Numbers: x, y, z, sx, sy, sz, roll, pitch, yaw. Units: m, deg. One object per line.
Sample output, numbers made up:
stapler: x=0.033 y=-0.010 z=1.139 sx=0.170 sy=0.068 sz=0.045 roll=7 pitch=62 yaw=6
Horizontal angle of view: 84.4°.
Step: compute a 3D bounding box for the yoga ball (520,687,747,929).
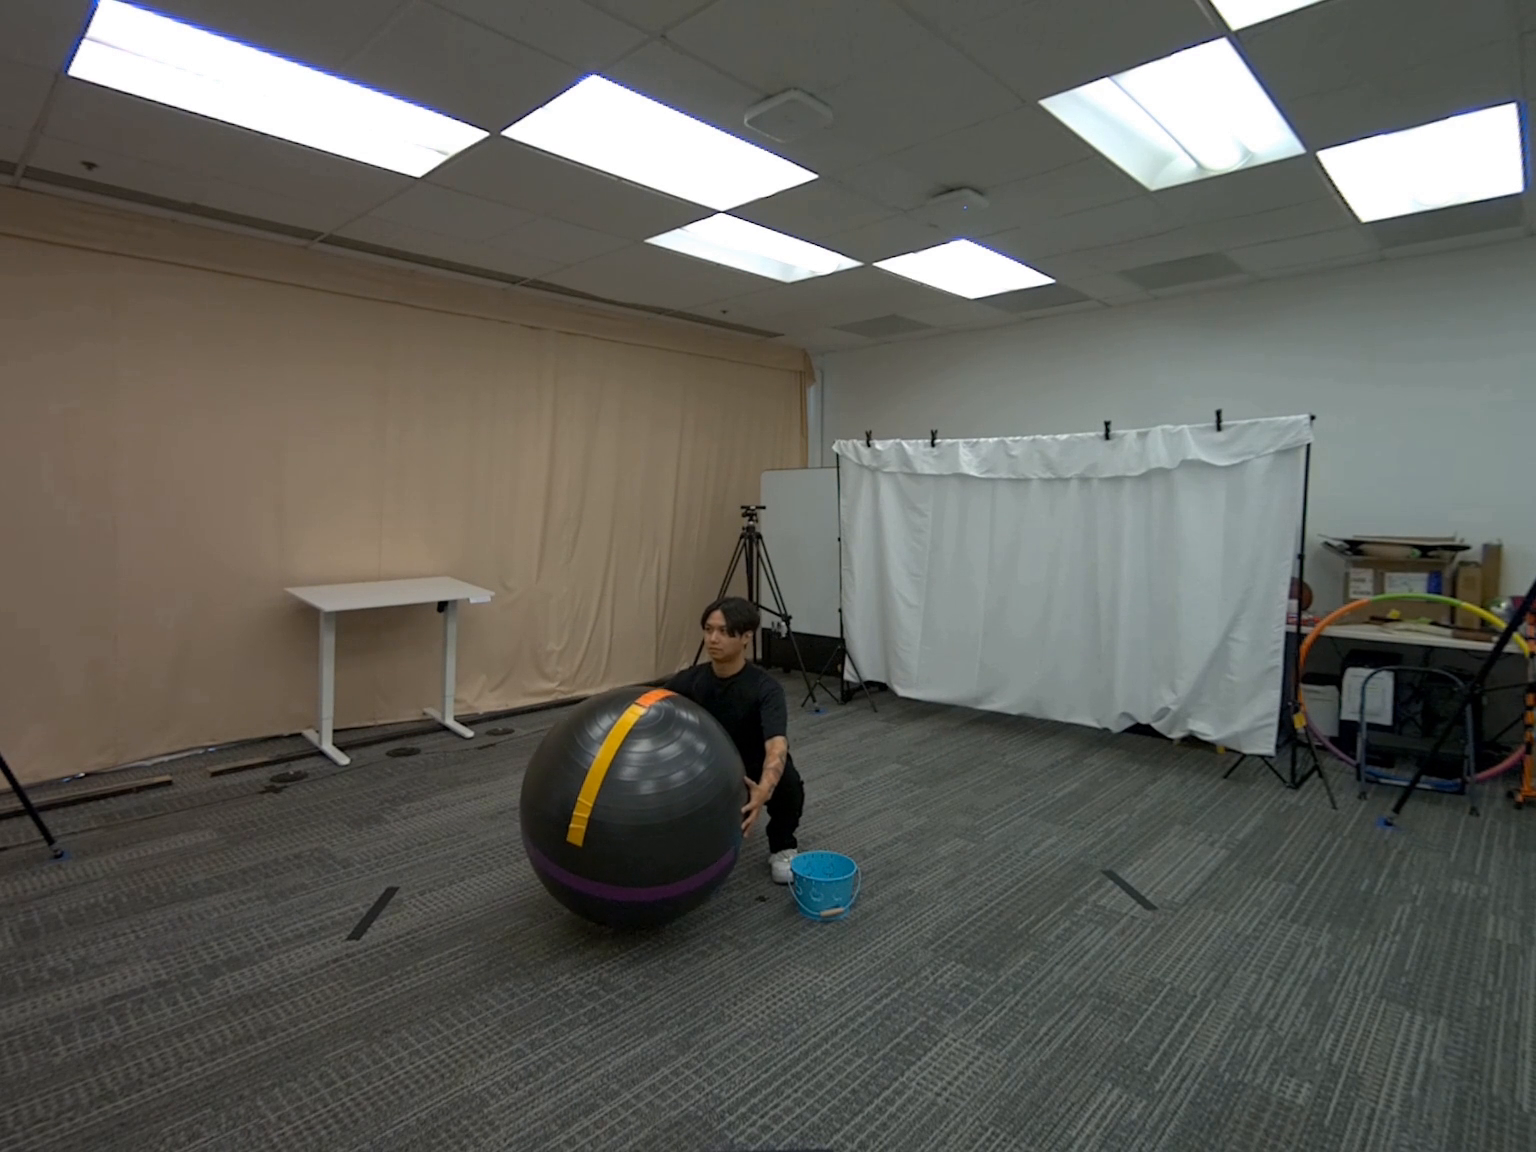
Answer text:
yoga ball: x=-0.451 y=0.758 z=2.777 sx=0.757 sy=0.756 sz=0.760 roll=0 pitch=4 yaw=-2
